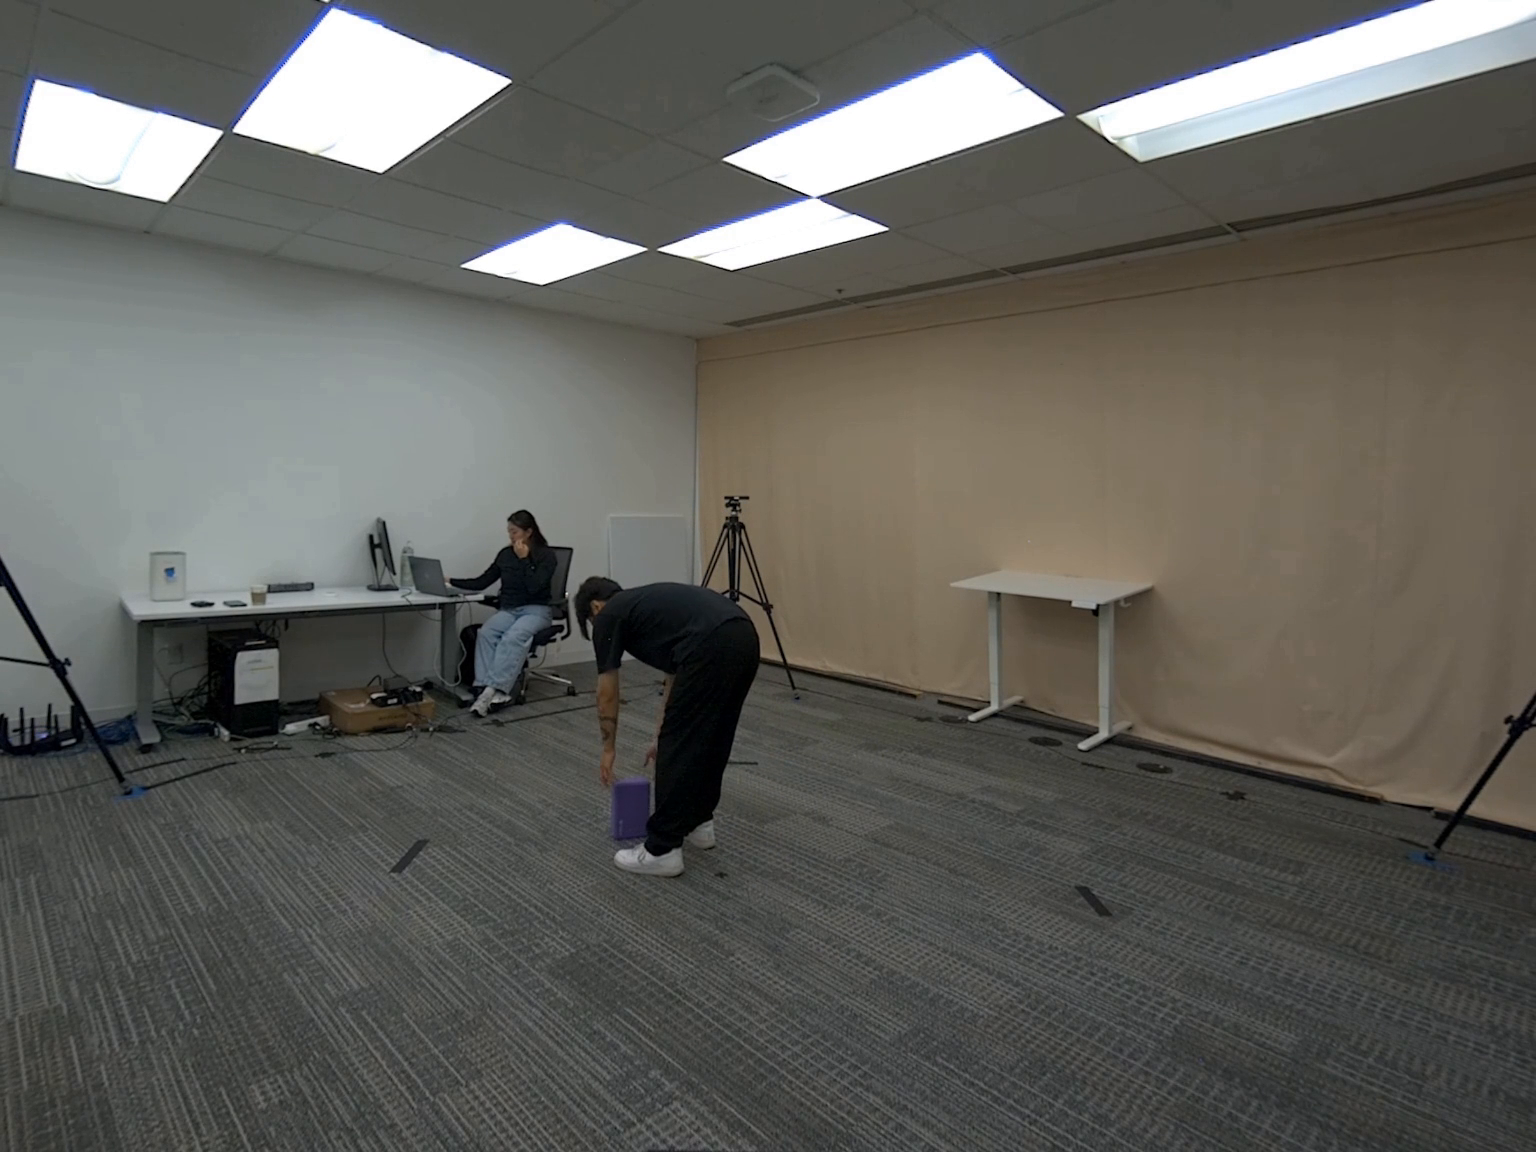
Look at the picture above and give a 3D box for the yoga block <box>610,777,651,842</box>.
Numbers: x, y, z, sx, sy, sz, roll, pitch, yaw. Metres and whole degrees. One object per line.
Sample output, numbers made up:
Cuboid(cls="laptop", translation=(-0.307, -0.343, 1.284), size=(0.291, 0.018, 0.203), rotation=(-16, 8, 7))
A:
Cuboid(cls="yoga block", translation=(-0.555, 0.937, 3.435), size=(0.147, 0.228, 0.077), rotation=(-1, 5, -16))
